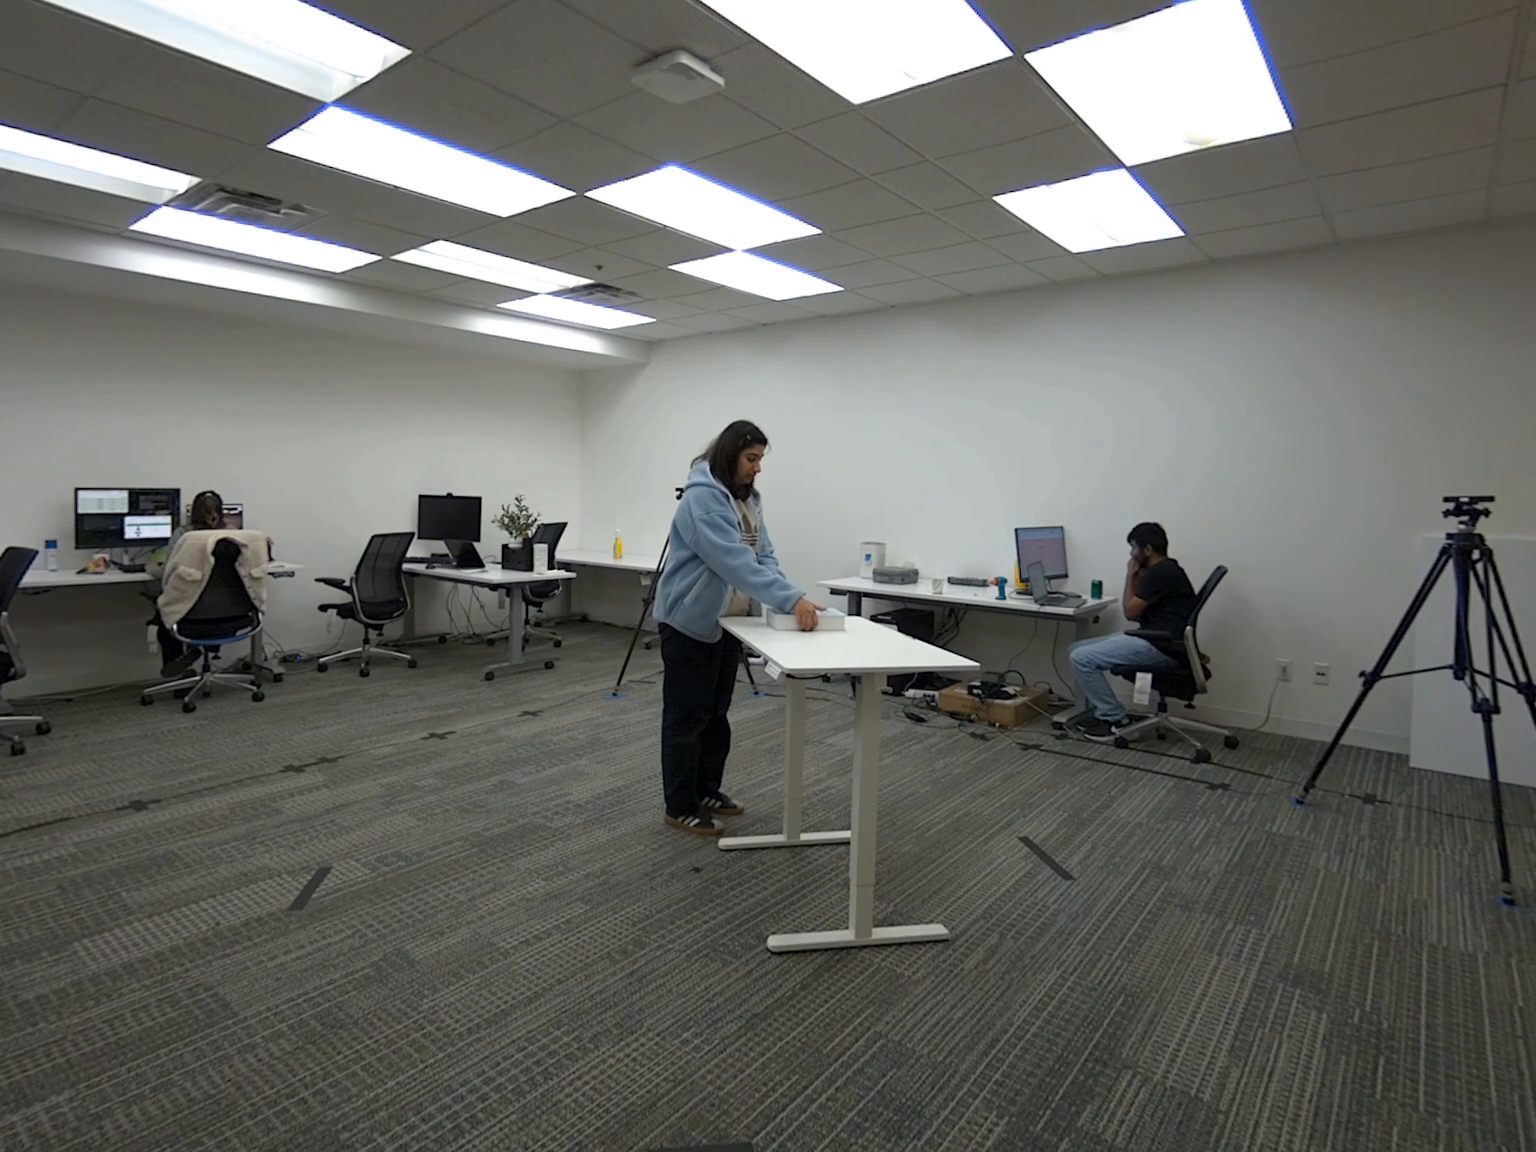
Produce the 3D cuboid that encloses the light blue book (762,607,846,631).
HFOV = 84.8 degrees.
[{"bbox_3d":[0.140,0.156,3.177,0.259,0.059,0.193,-1,6,-6],"label":"light blue book"}]
